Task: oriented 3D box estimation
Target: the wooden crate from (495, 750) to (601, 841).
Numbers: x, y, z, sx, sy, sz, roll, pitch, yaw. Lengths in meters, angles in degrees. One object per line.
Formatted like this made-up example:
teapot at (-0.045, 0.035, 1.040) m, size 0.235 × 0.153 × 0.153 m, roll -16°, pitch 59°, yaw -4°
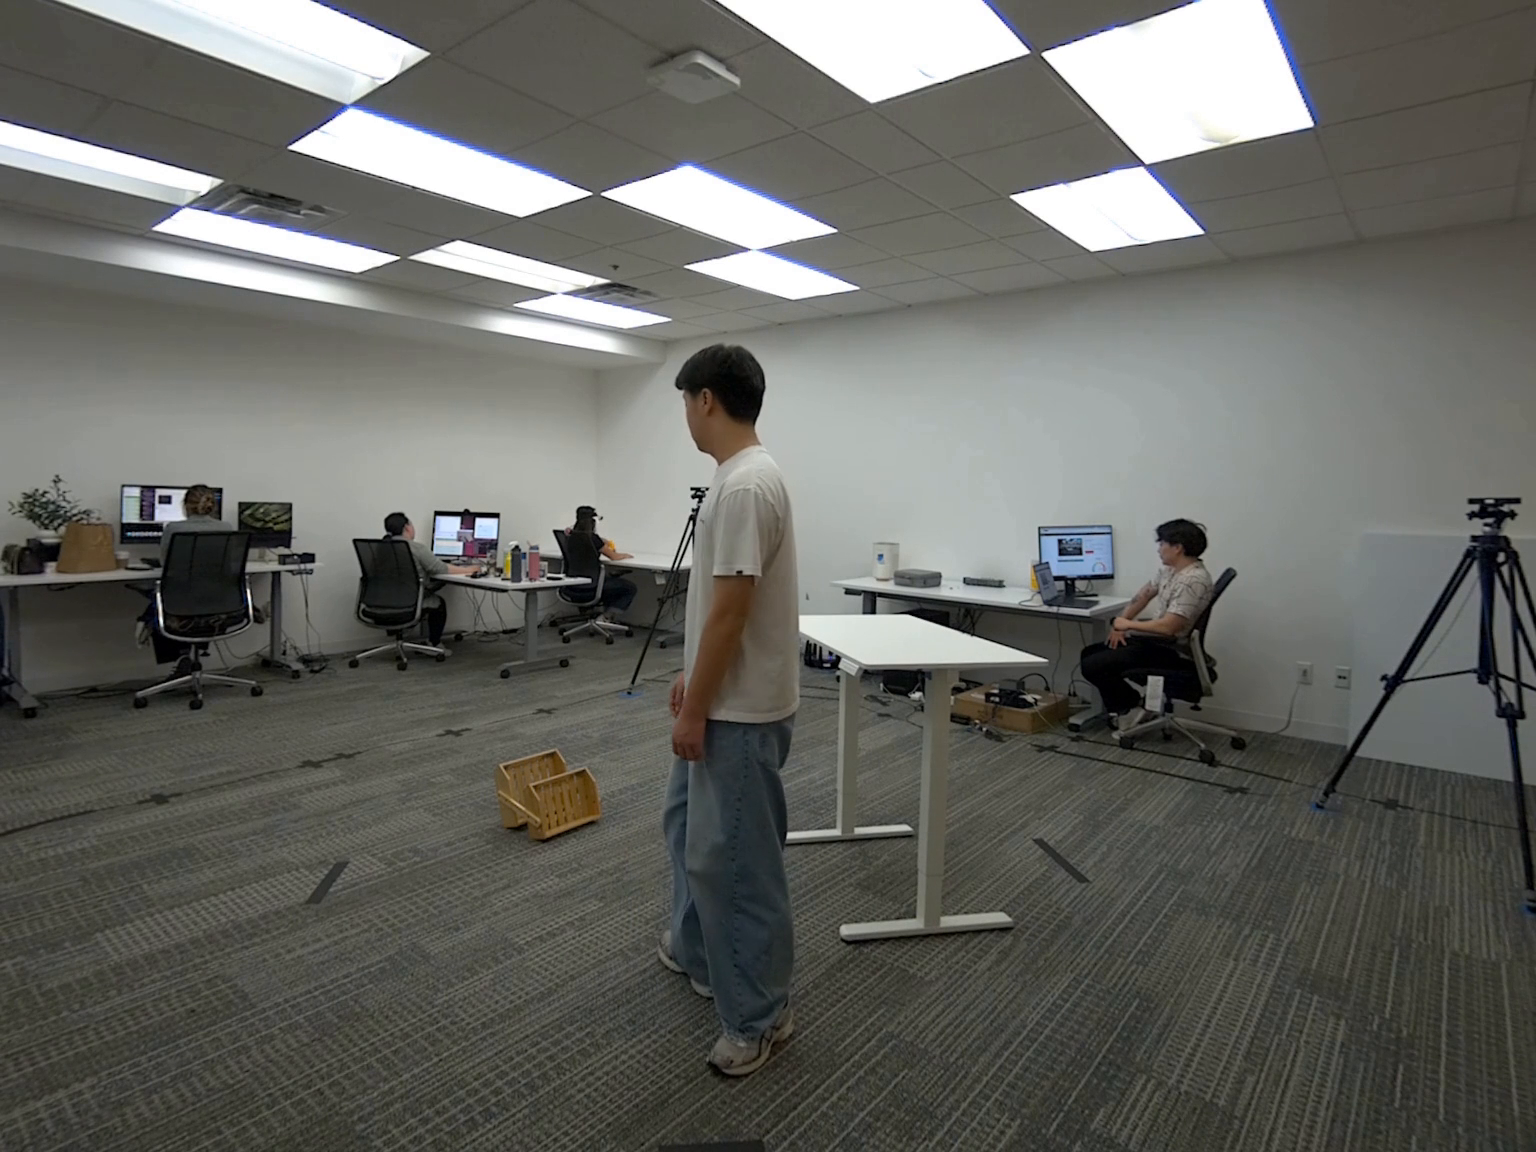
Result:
wooden crate at (-0.914, 0.880, 3.497) m, size 0.279 × 0.305 × 0.315 m, roll -18°, pitch -8°, yaw 37°
